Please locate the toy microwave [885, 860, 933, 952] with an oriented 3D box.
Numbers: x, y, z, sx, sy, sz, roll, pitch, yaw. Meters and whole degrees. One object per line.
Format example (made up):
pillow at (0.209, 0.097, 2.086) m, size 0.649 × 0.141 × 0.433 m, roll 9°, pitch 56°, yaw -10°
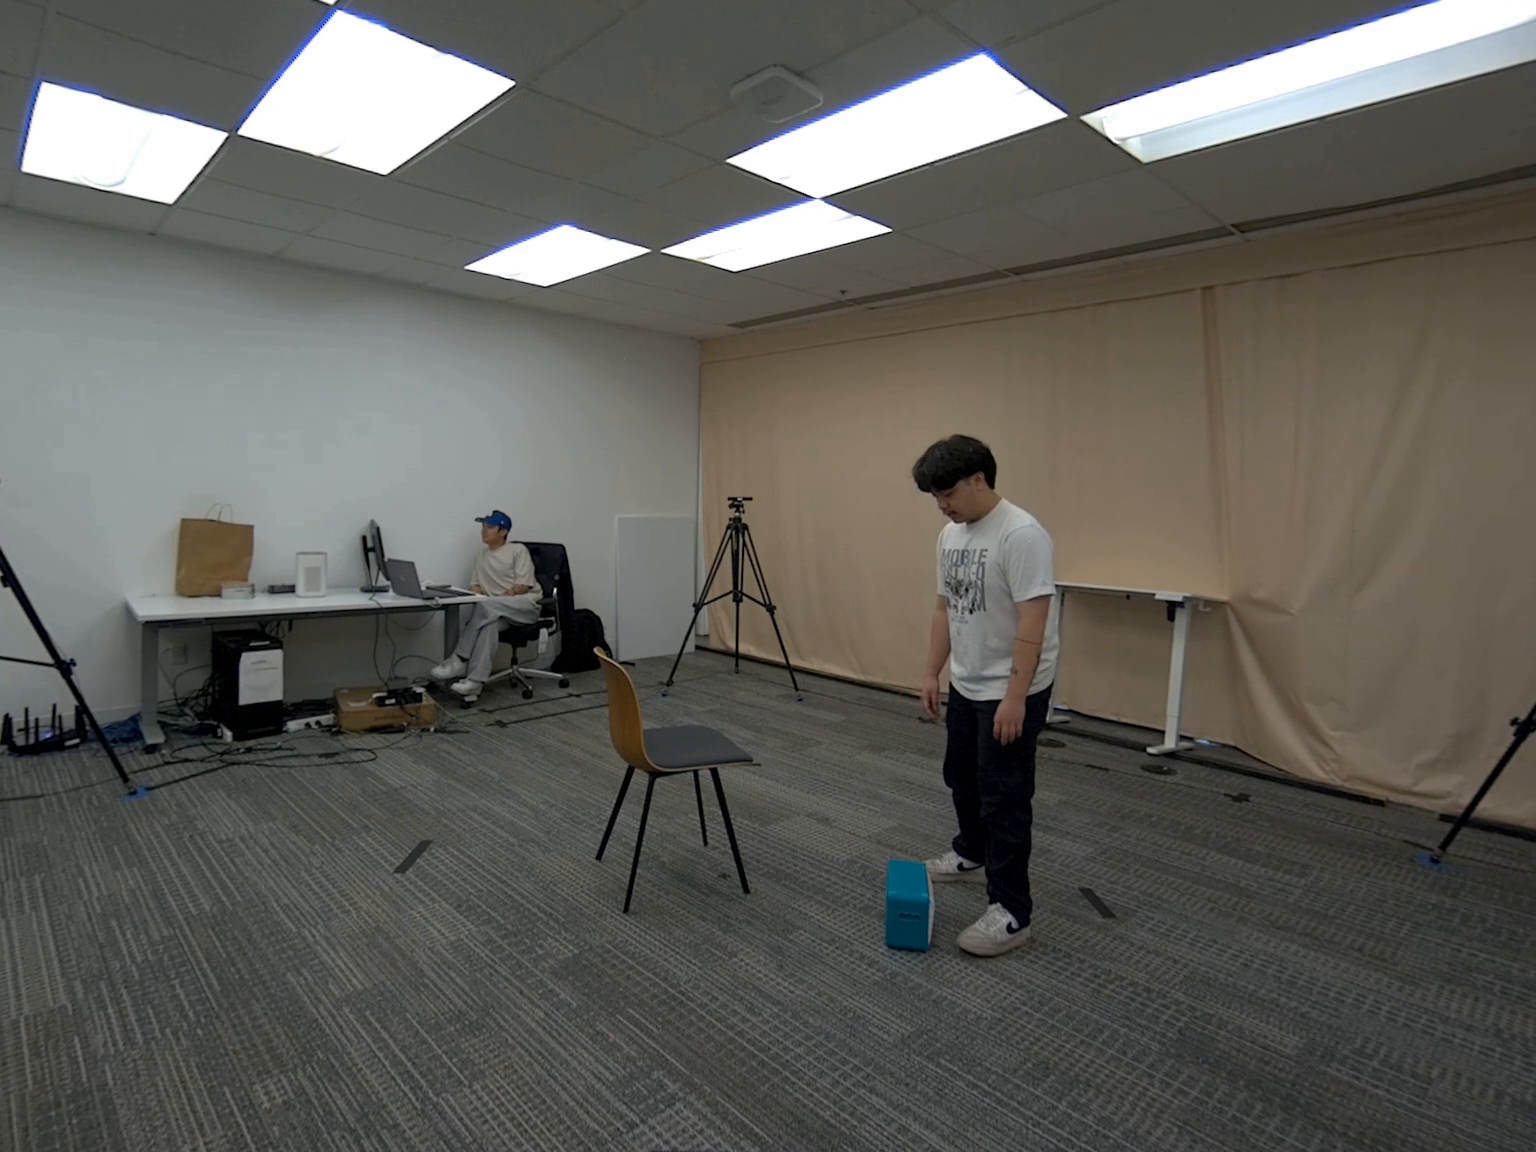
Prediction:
toy microwave at (0.453, 1.065, 2.733) m, size 0.153 × 0.183 × 0.284 m, roll 0°, pitch 4°, yaw 9°
